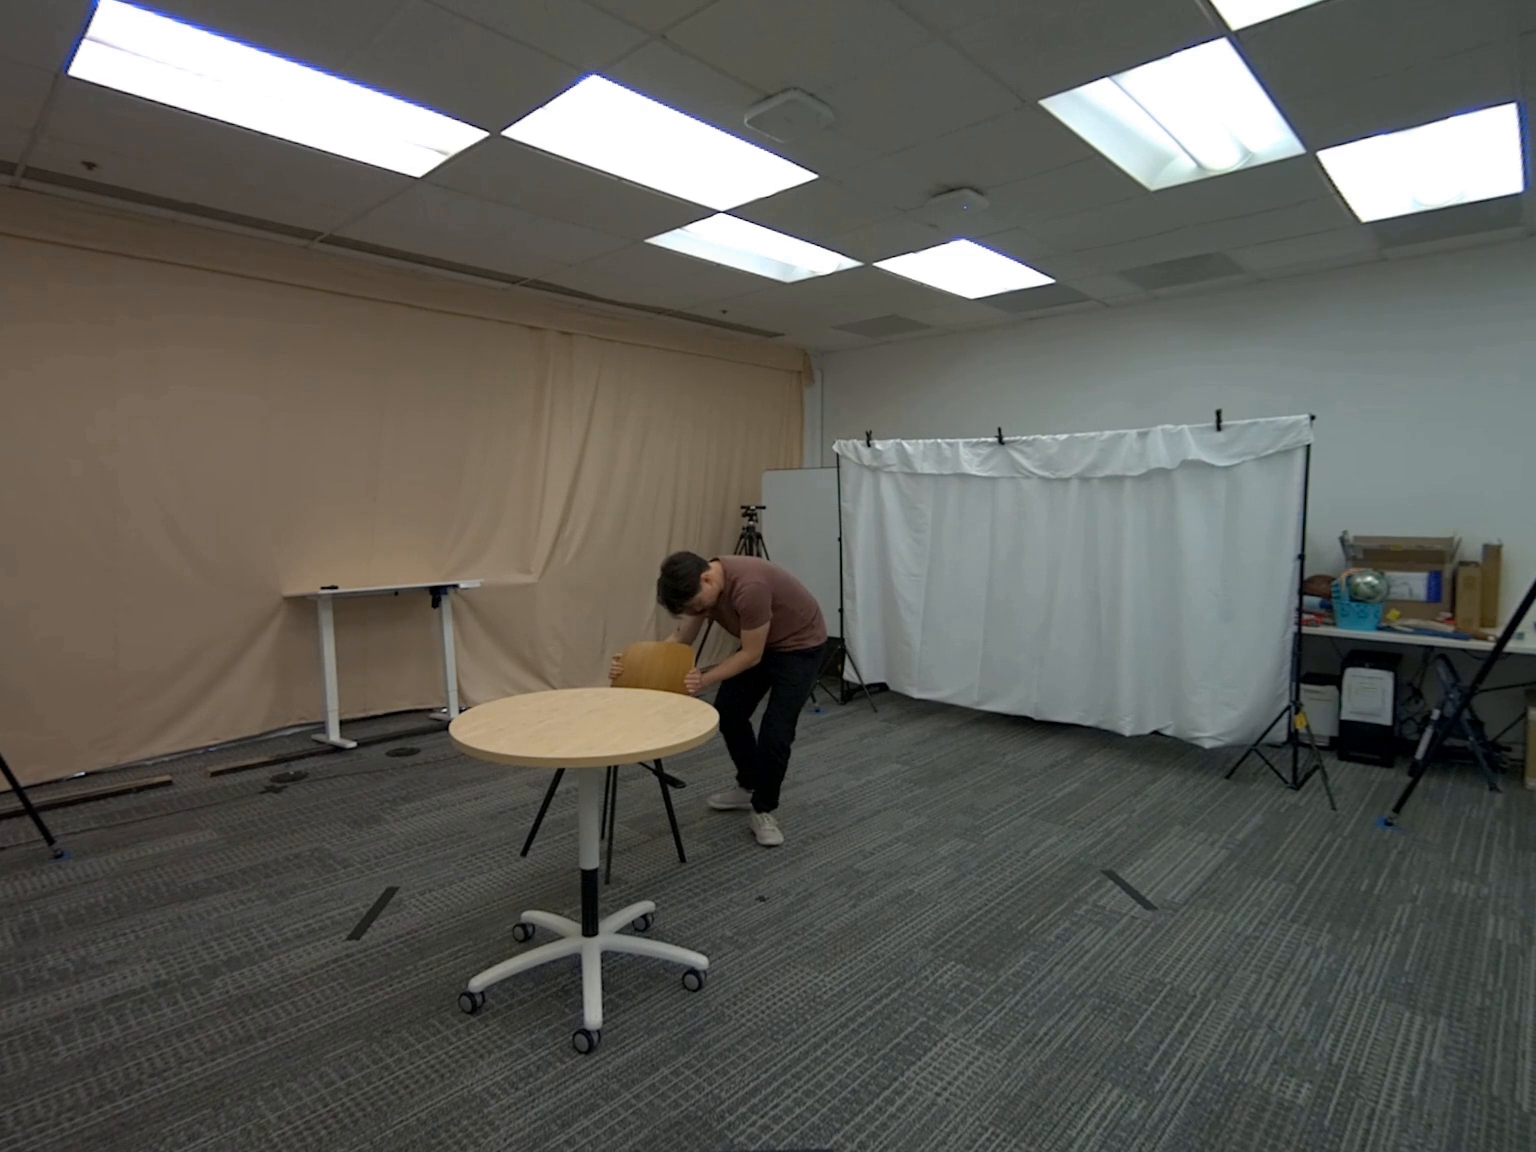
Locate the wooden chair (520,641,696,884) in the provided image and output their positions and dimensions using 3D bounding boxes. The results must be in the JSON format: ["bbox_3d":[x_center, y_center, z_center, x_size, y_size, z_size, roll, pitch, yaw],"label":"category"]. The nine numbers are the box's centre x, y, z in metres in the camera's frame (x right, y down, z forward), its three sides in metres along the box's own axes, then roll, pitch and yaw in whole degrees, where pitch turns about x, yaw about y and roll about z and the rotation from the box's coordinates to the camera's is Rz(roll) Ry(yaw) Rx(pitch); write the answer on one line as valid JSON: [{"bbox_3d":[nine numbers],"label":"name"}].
[{"bbox_3d":[-0.595,0.666,3.256,0.493,0.881,0.505,1,-10,35],"label":"wooden chair"}]
